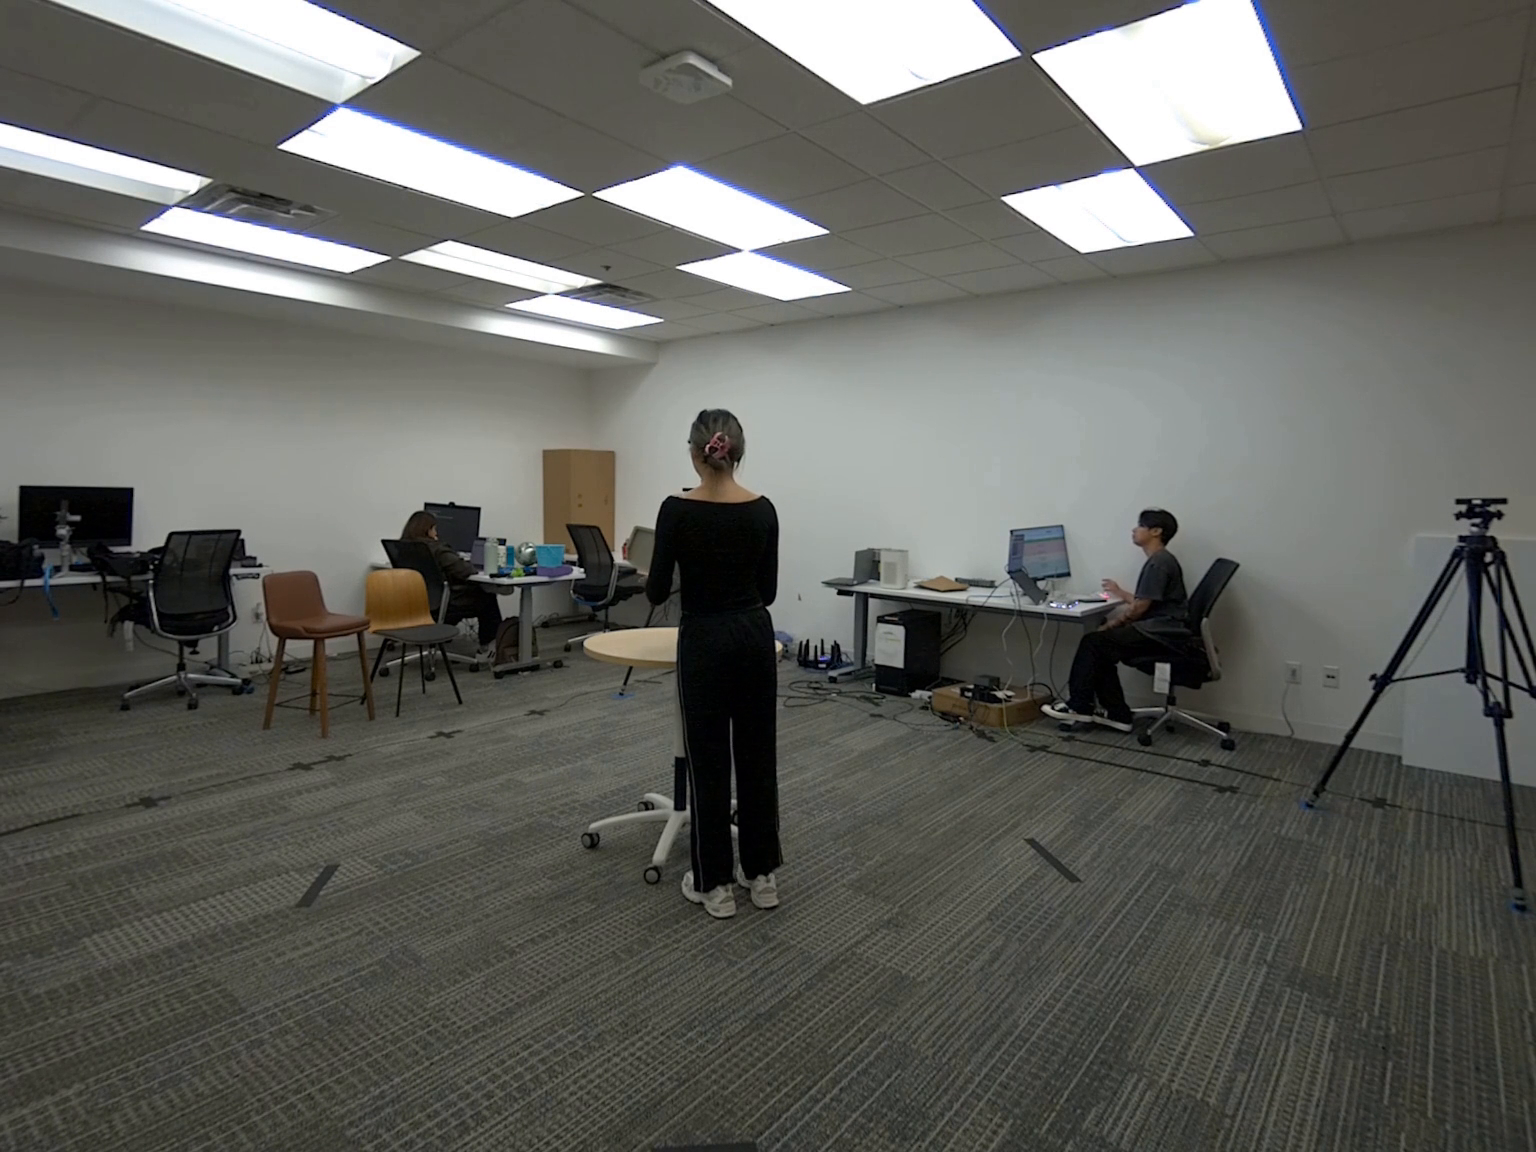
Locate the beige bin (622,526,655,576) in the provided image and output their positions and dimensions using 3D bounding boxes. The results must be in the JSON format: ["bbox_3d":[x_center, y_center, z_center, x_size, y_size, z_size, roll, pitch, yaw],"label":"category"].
[{"bbox_3d":[-0.270,-0.114,3.186,0.388,0.186,0.416,13,18,22],"label":"beige bin"}]
